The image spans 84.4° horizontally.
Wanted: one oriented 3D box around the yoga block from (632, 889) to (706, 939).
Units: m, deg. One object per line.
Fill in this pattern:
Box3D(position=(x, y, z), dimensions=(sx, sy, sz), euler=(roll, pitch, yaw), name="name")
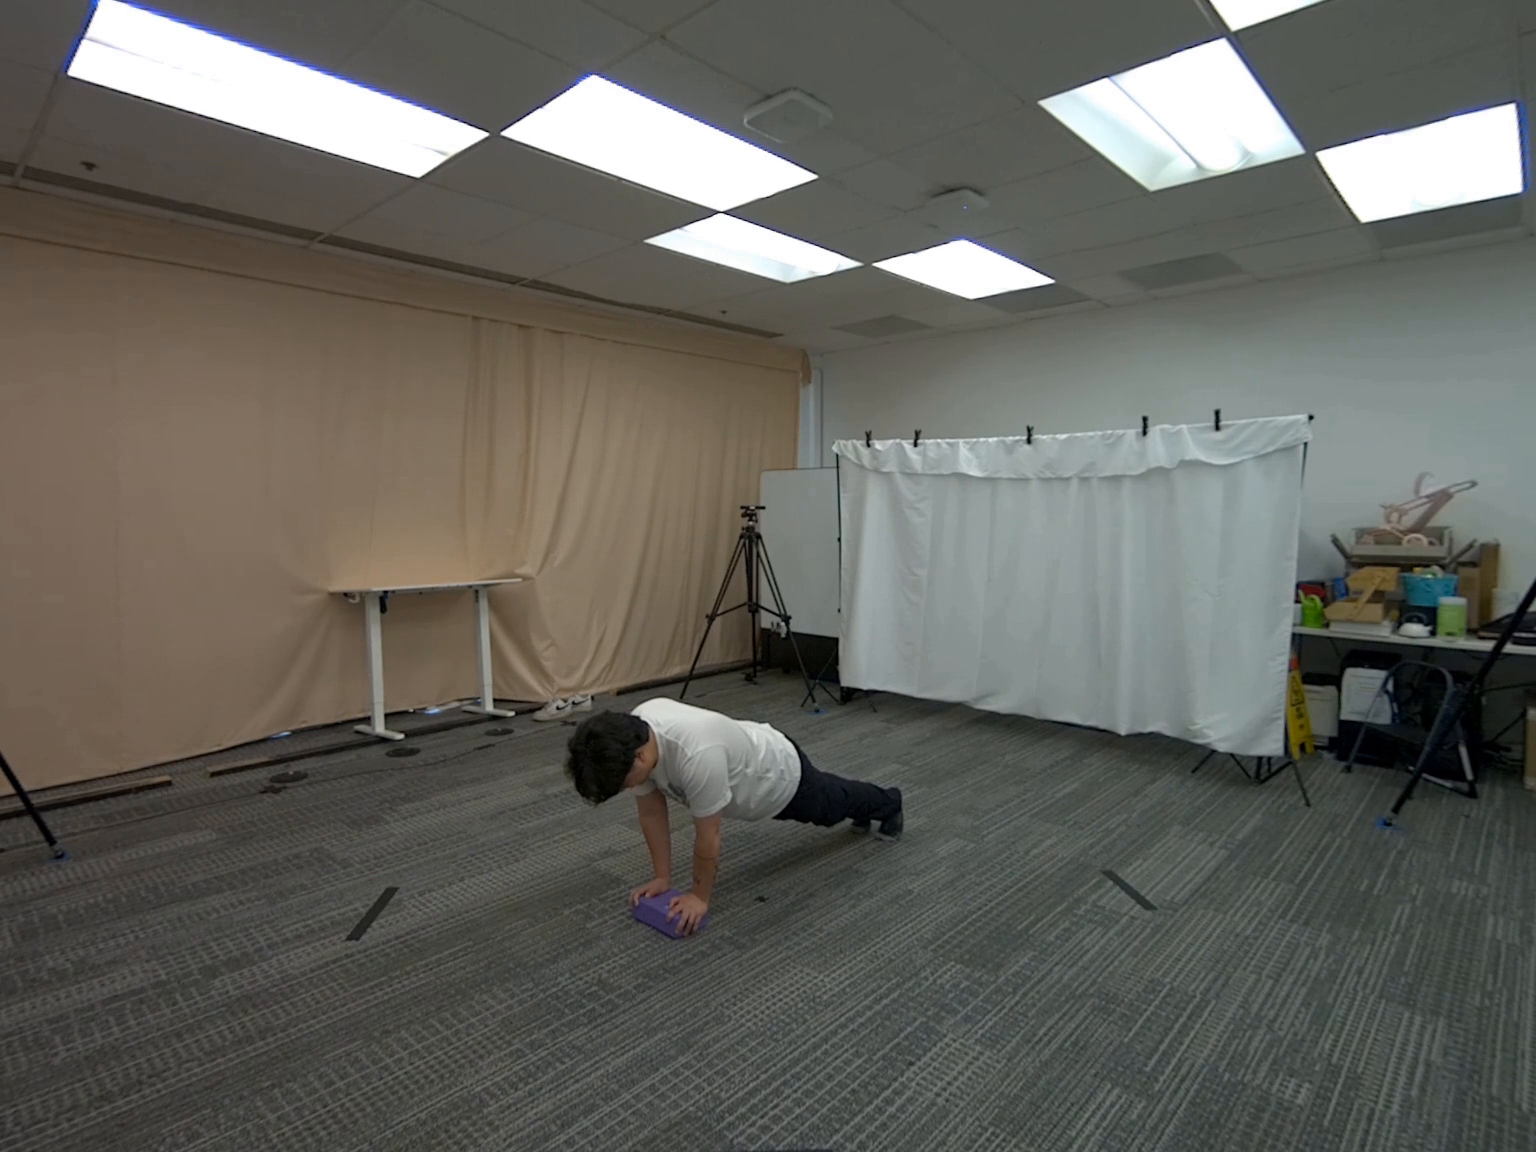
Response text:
Box3D(position=(-0.329, 1.128, 2.825), dimensions=(0.237, 0.076, 0.144), euler=(4, 6, 42), name="yoga block")
